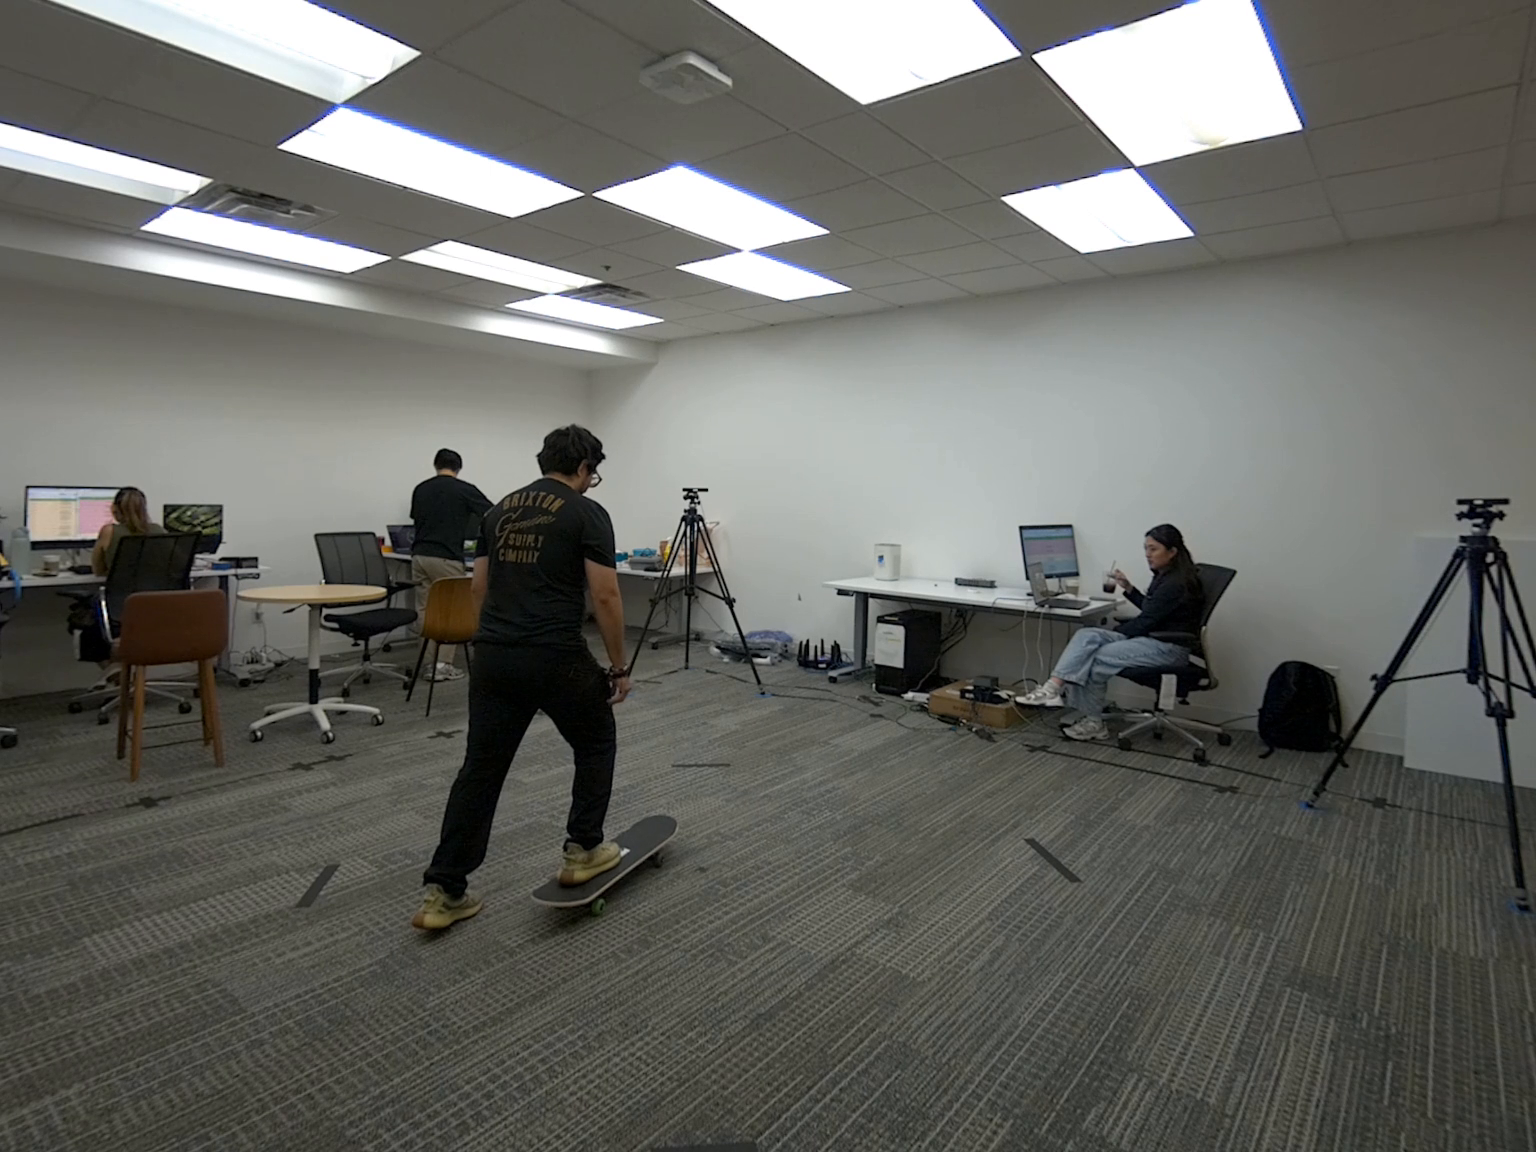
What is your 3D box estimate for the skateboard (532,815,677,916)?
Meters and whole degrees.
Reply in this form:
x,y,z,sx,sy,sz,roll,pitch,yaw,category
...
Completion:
x,y,z,sx,sy,sz,roll,pitch,yaw,category
-0.559,1.023,2.981,0.198,0.110,0.769,1,5,22,skateboard
